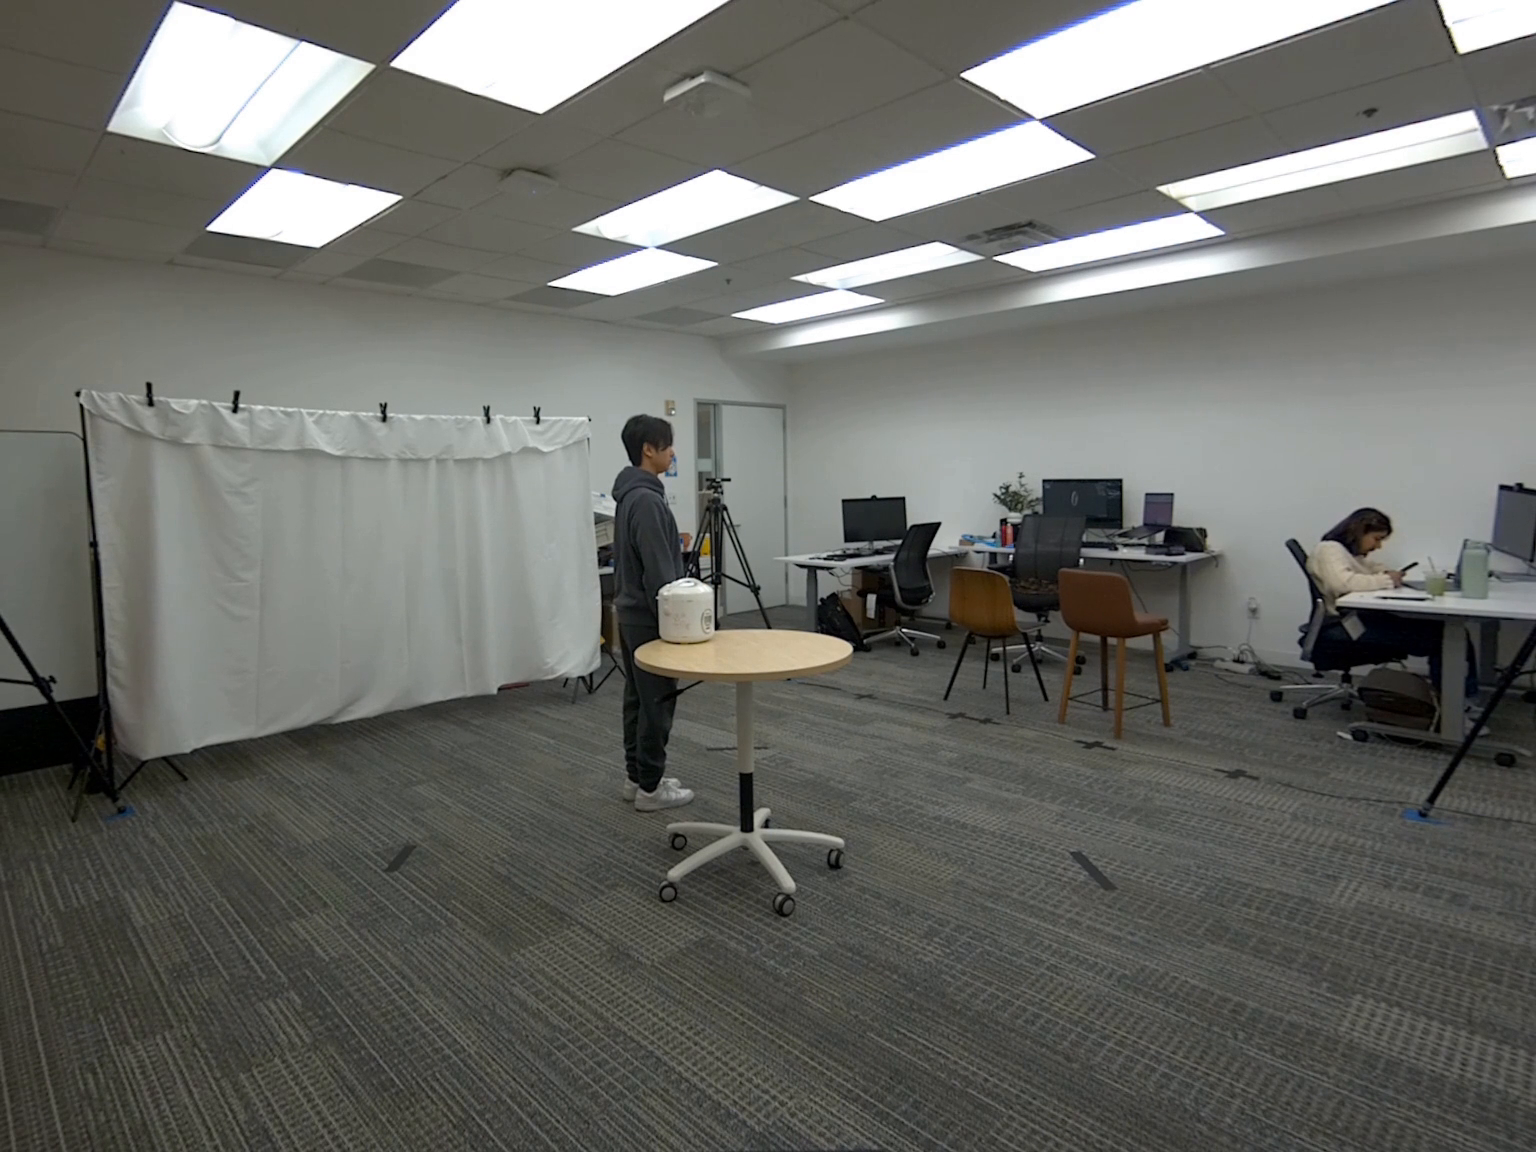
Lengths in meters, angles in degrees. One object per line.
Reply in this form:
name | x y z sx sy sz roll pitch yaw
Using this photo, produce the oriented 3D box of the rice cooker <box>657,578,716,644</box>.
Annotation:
rice cooker | -0.300 0.124 3.200 0.223 0.232 0.215 0 4 40
